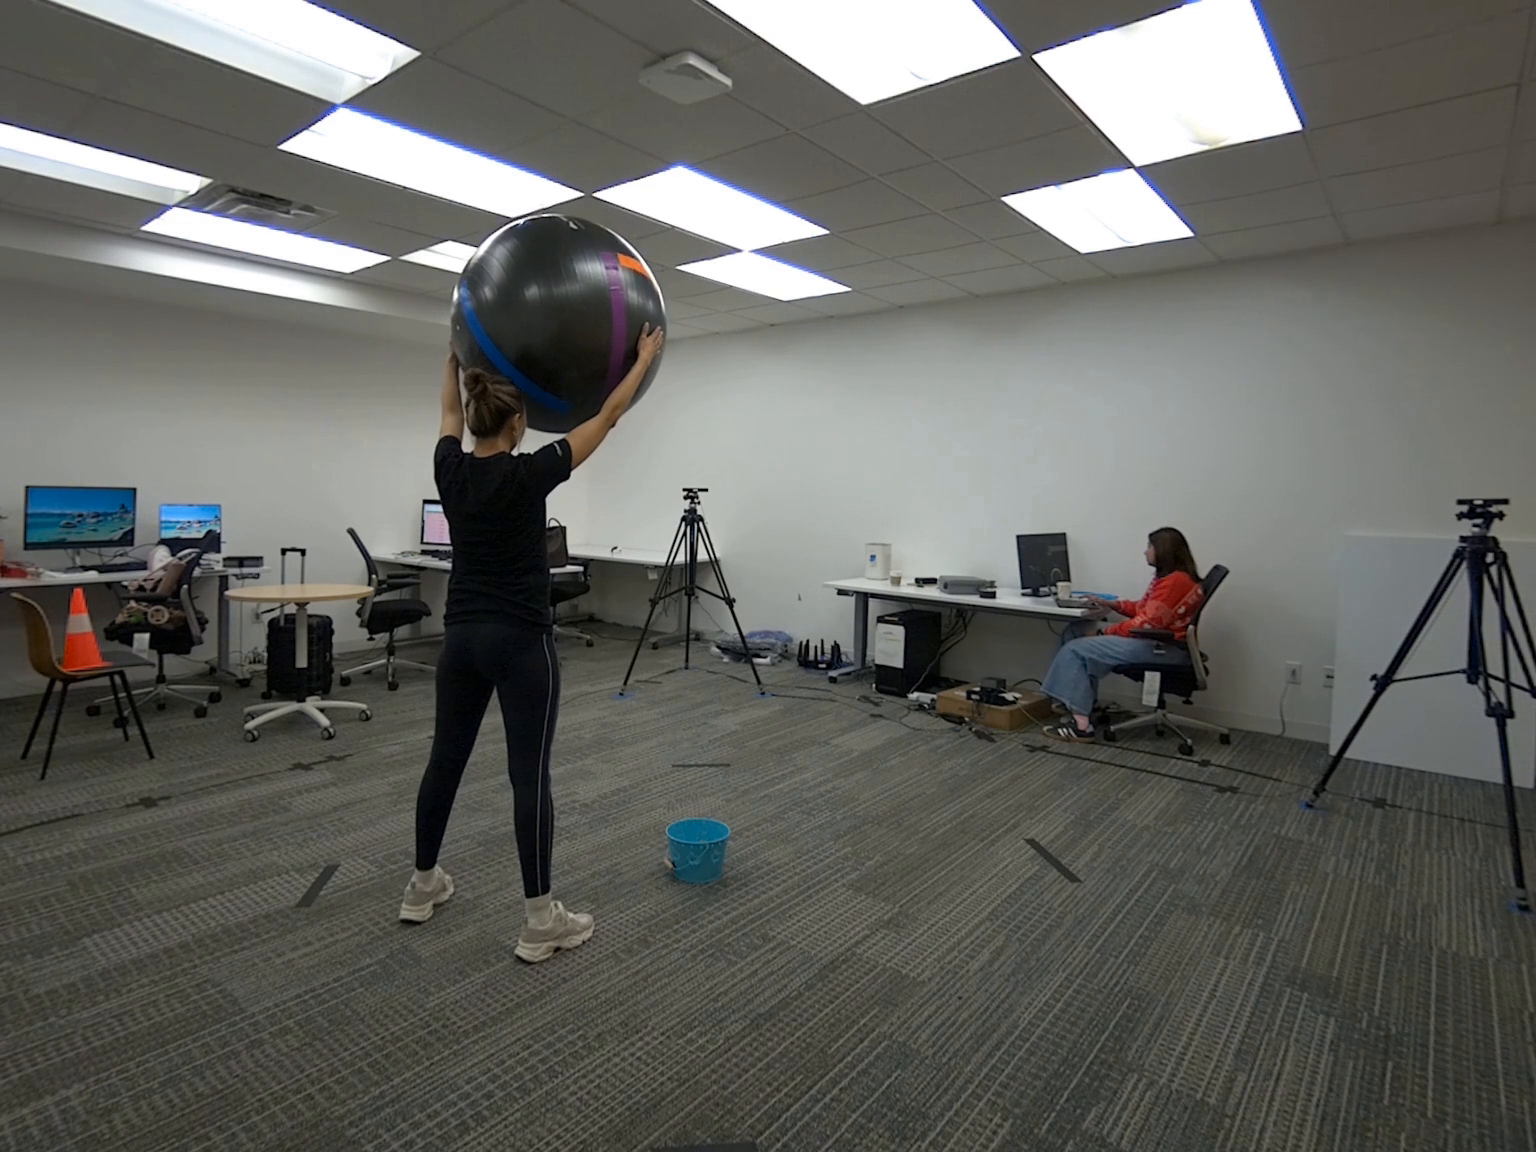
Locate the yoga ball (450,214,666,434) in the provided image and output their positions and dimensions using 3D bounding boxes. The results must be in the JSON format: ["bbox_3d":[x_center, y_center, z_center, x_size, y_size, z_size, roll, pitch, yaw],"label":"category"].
[{"bbox_3d":[-0.752,-0.881,3.035,0.757,0.756,0.762,1,4,-2],"label":"yoga ball"}]
